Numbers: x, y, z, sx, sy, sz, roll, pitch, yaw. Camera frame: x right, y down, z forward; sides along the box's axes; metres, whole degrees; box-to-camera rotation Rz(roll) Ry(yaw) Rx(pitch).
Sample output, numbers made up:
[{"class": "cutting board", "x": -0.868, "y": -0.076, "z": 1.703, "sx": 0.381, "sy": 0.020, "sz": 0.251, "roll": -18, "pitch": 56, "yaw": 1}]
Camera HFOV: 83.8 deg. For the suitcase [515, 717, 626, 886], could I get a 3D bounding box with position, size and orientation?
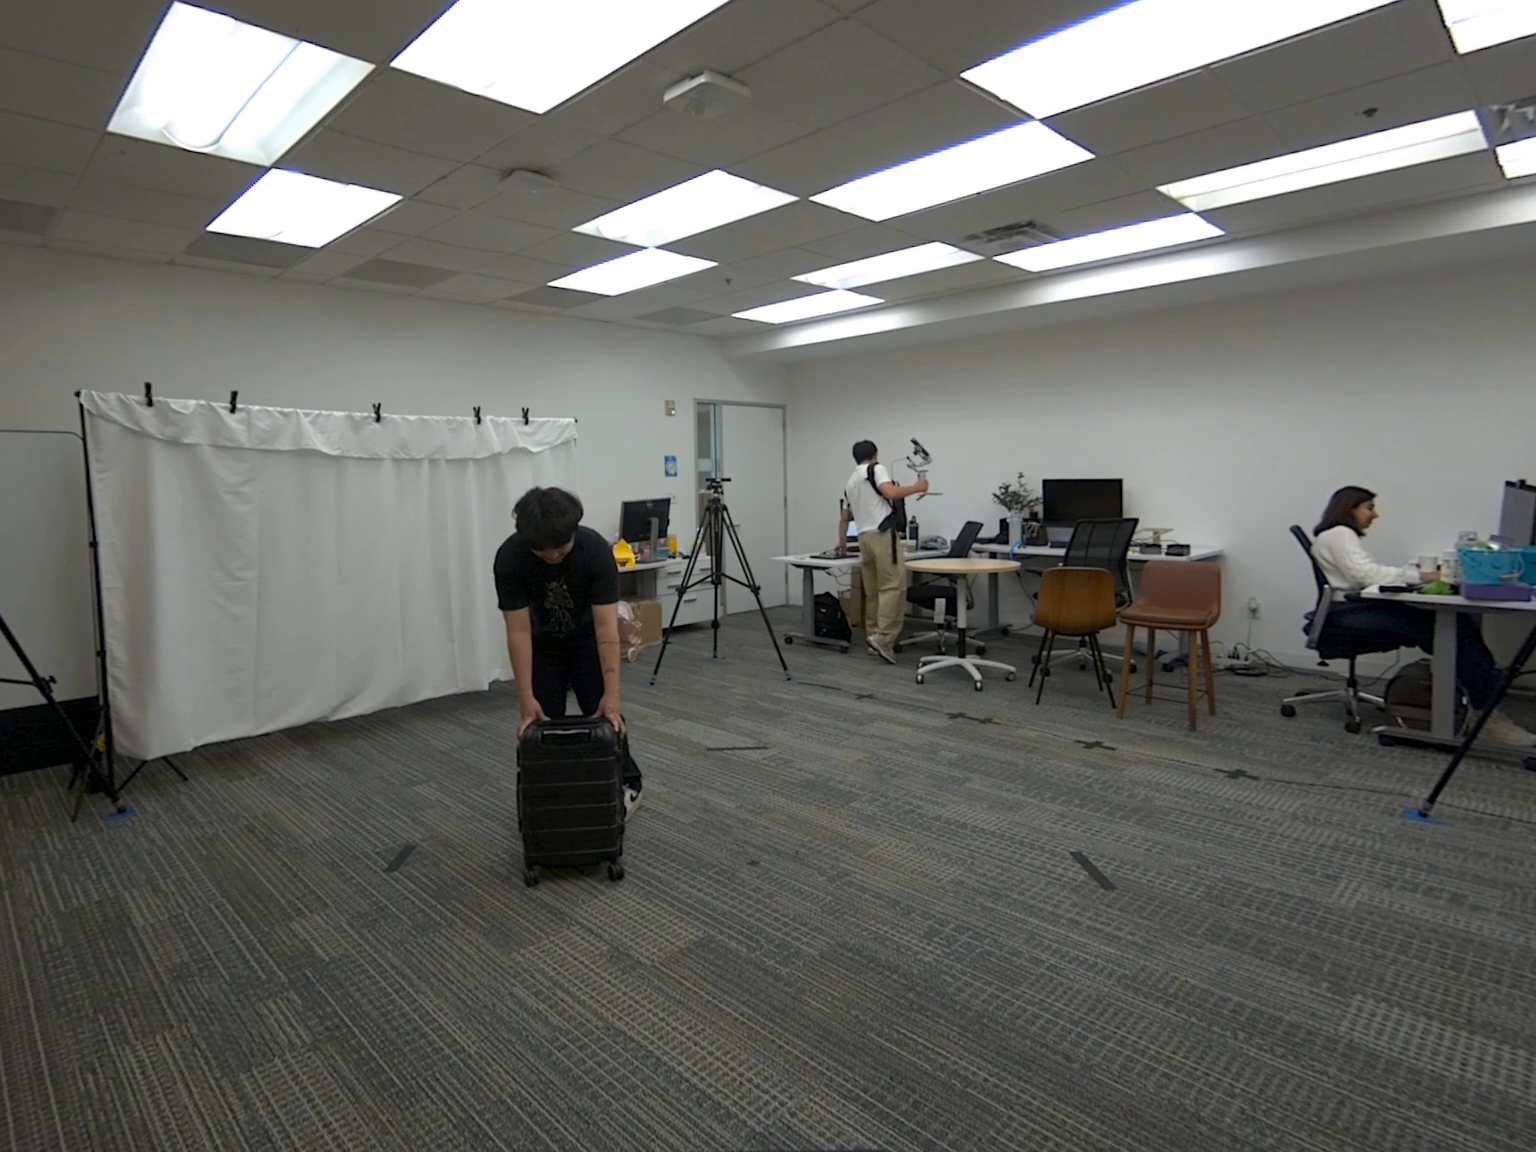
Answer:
[{"class": "suitcase", "x": -0.710, "y": 0.780, "z": 3.091, "sx": 0.373, "sy": 0.548, "sz": 0.250, "roll": -2, "pitch": 3, "yaw": -6}]
